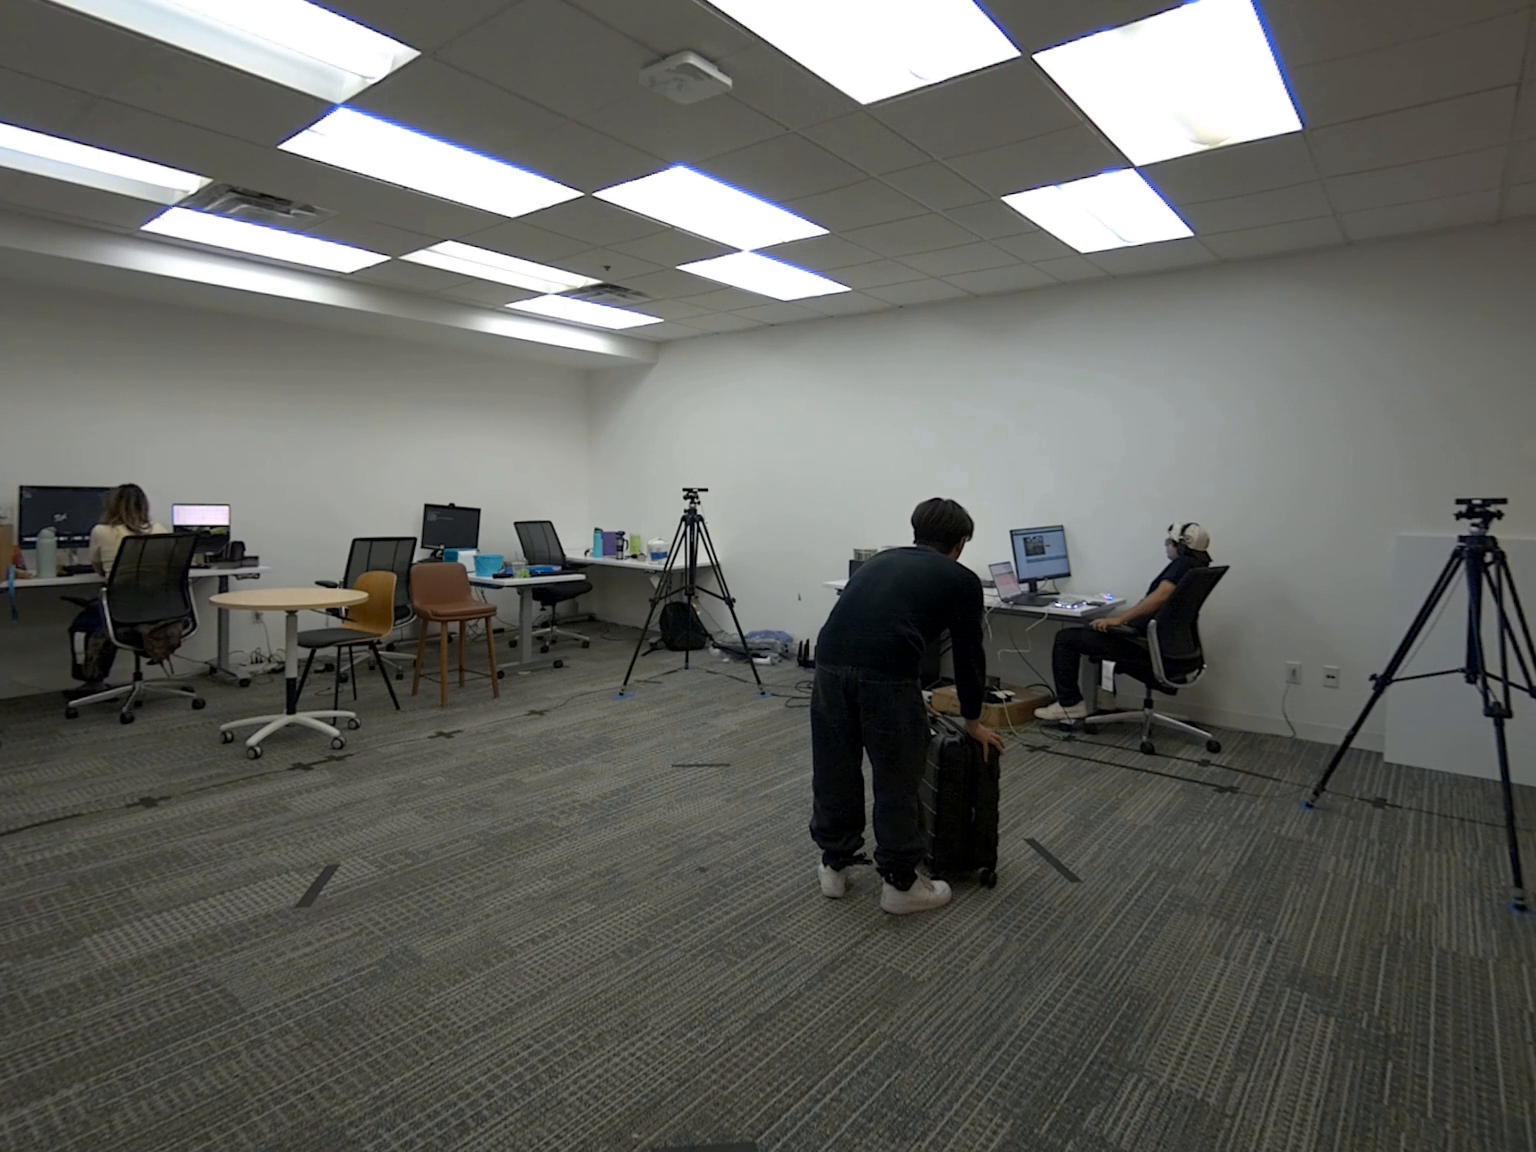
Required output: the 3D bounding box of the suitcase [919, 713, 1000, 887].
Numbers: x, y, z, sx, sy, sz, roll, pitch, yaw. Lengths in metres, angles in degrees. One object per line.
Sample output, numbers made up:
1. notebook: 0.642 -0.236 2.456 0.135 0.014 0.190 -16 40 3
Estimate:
1. suitcase: 0.675 0.805 3.170 0.246 0.548 0.380 2 4 -10
